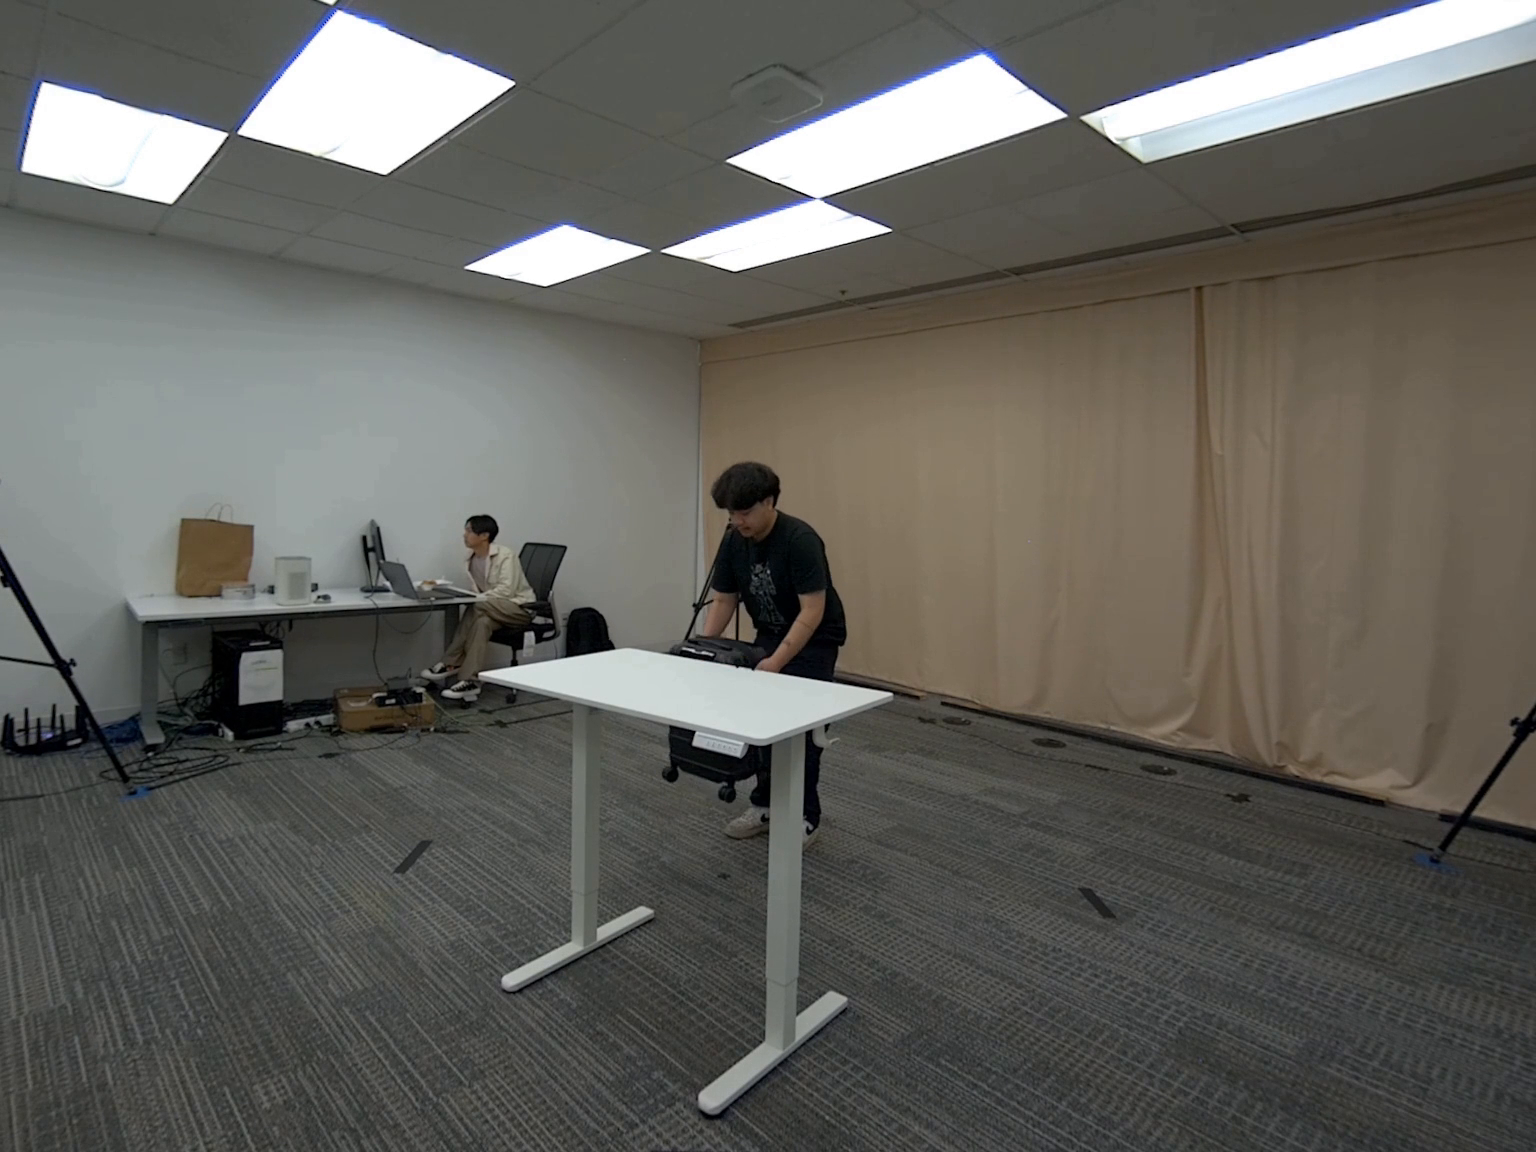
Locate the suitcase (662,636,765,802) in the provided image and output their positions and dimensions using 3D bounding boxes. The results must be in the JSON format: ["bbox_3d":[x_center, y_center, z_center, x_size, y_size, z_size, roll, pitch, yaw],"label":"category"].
[{"bbox_3d":[-0.193,0.516,3.198,0.385,0.547,0.243,4,7,40],"label":"suitcase"}]
